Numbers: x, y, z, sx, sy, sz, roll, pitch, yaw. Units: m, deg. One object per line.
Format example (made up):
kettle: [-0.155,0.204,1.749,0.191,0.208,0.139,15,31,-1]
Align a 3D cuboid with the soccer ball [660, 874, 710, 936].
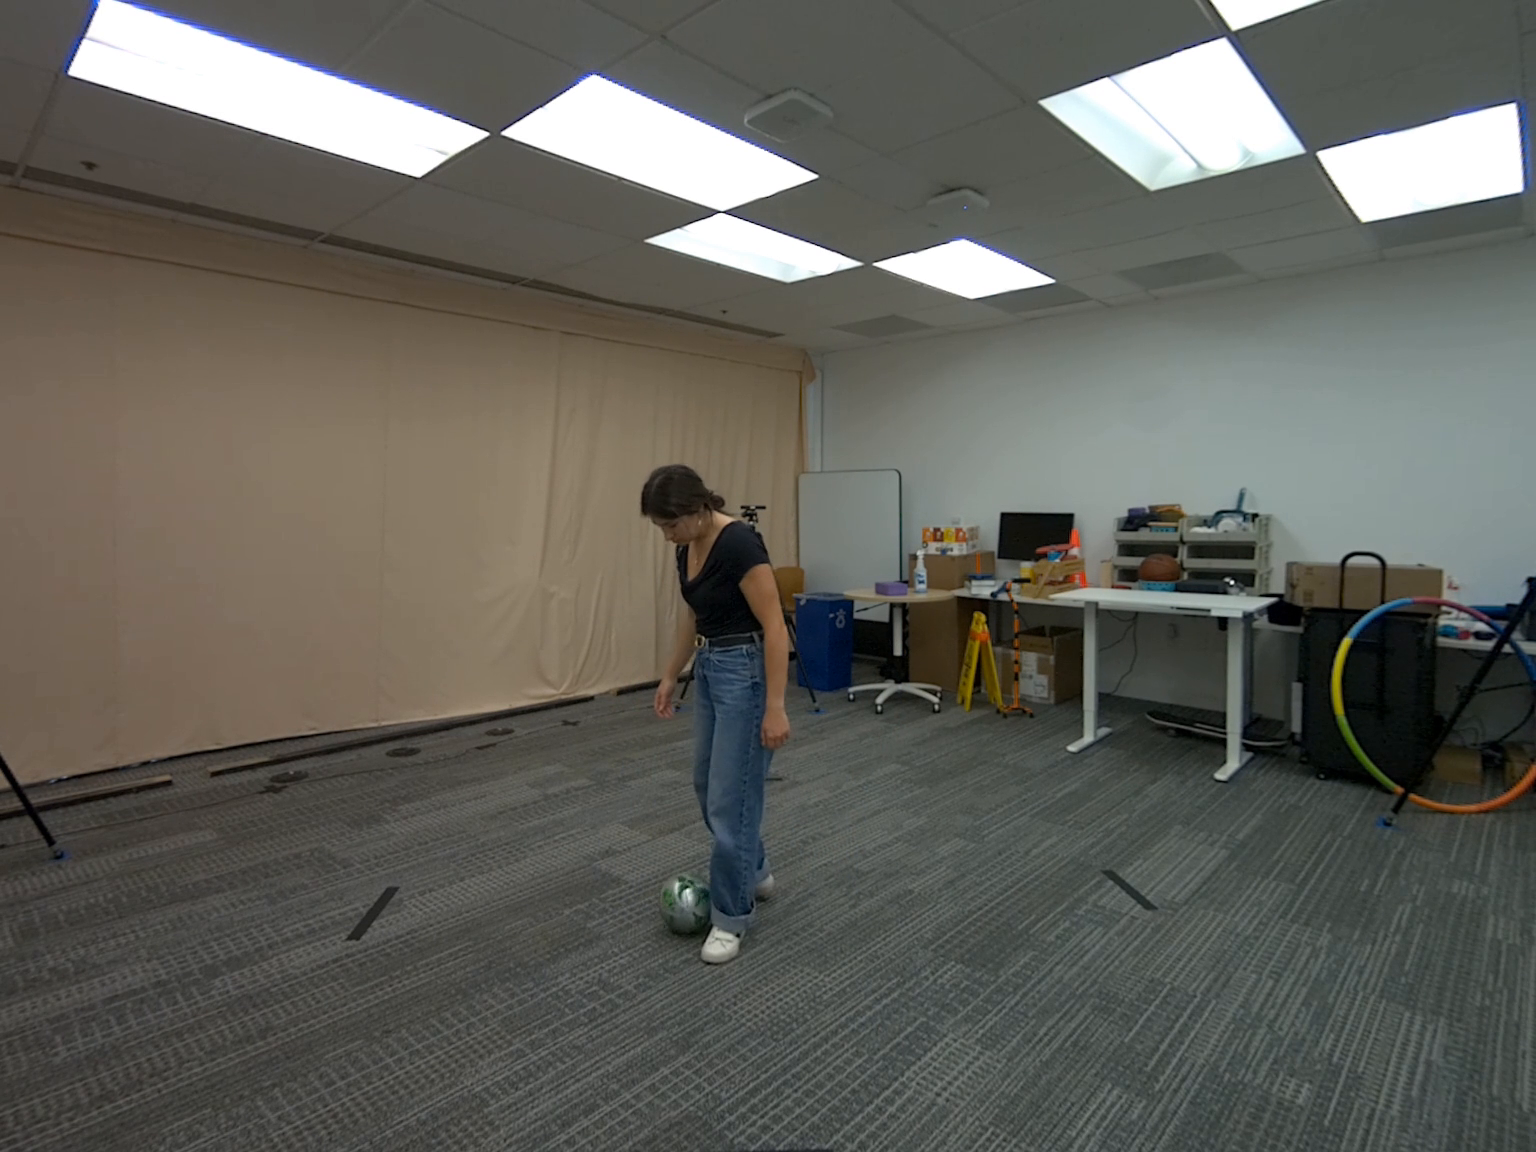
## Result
soccer ball: [-0.263,1.078,2.758,0.187,0.187,0.188,0,4,-2]
